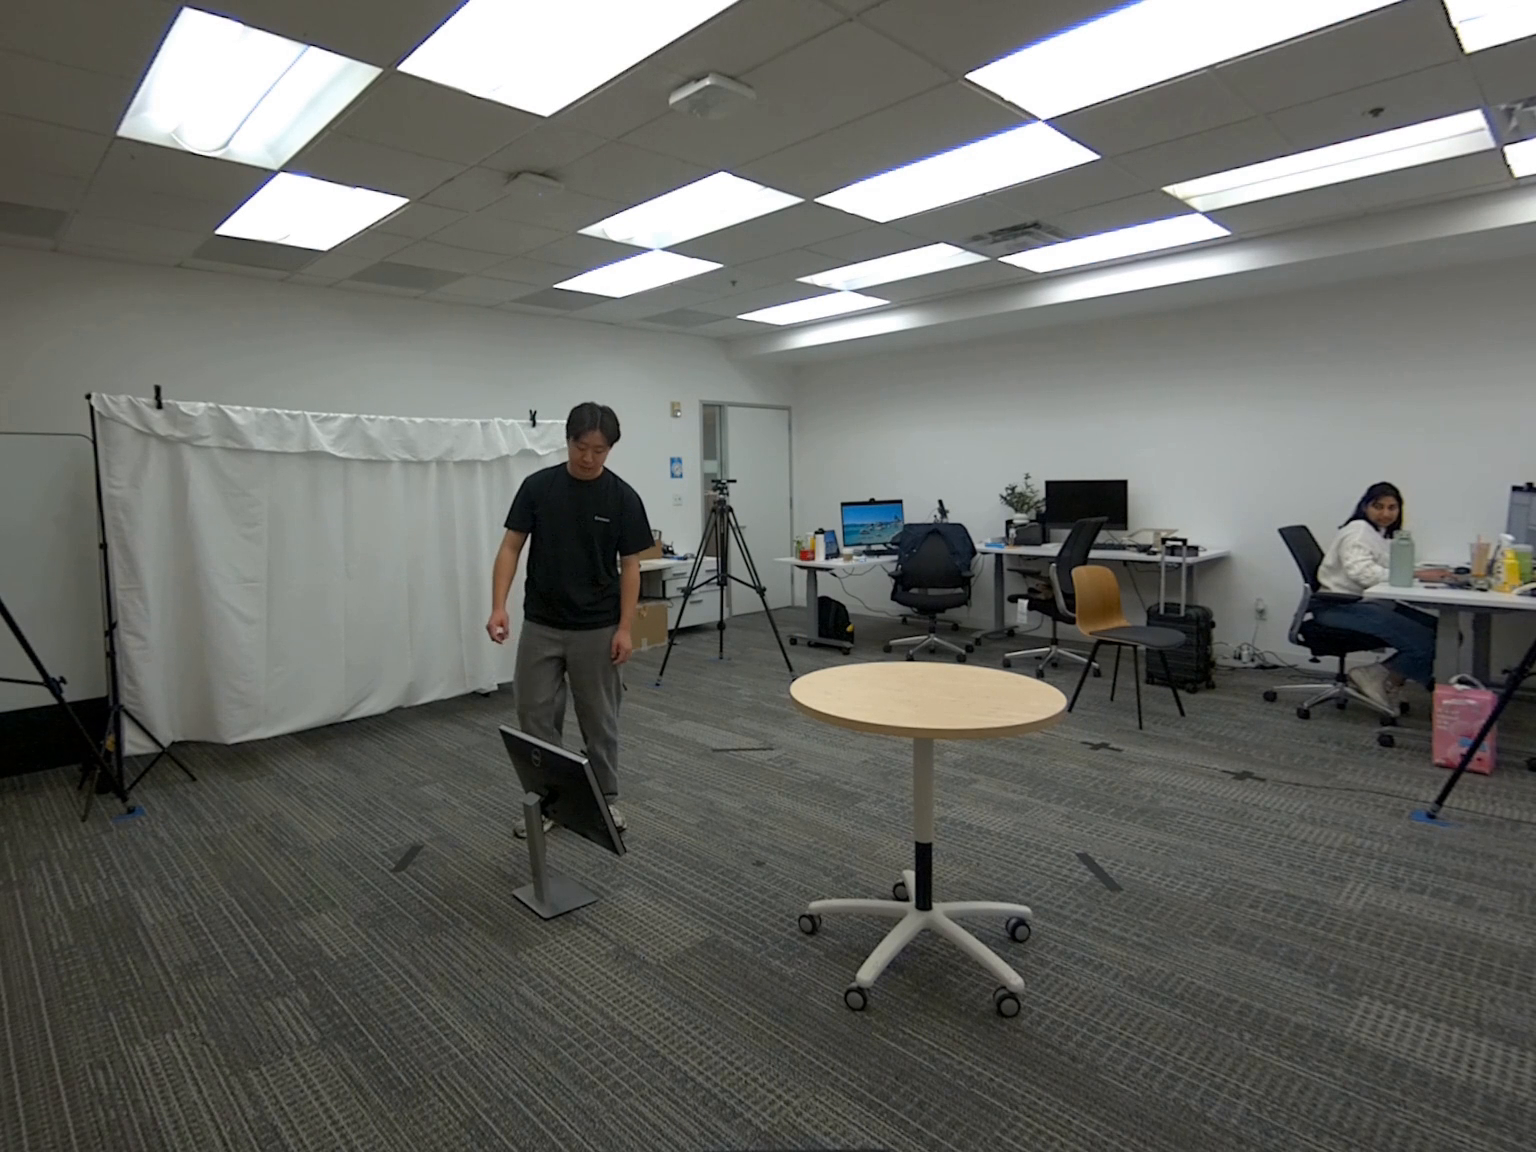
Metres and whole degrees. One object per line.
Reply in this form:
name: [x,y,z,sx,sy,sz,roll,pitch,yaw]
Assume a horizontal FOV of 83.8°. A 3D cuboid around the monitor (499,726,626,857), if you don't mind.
monitor: [-0.731,0.827,2.872,0.216,0.563,0.579,-7,7,-42]
